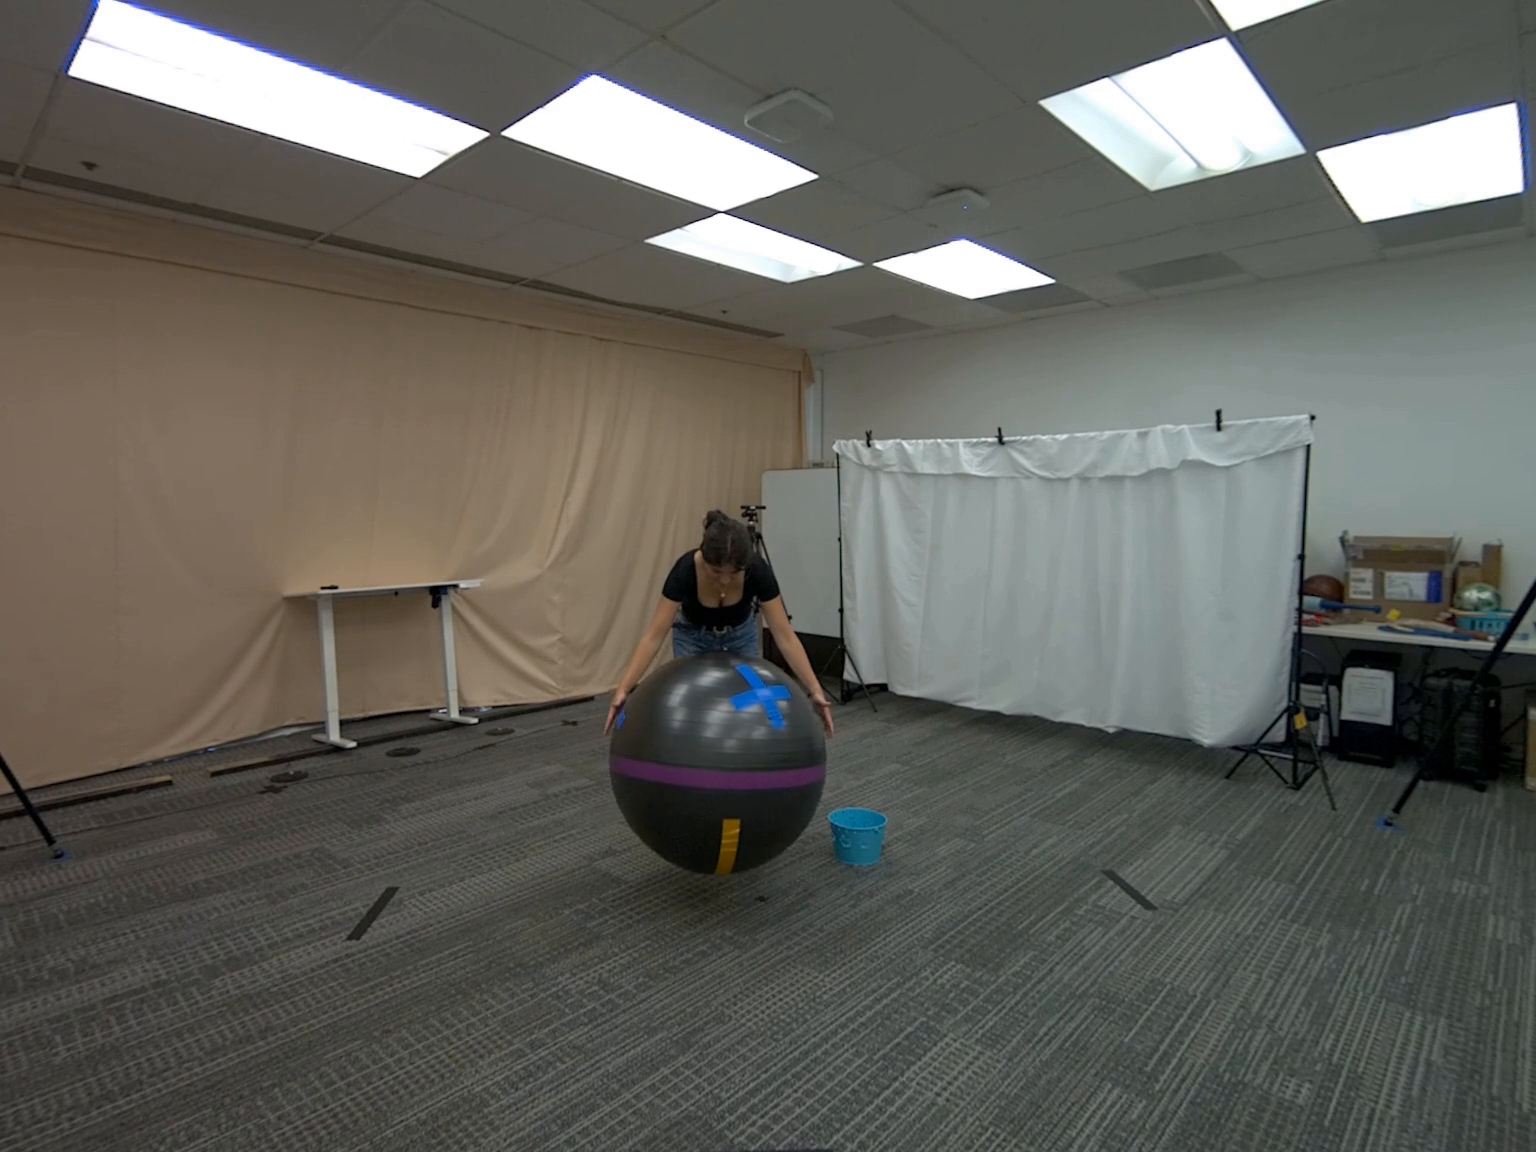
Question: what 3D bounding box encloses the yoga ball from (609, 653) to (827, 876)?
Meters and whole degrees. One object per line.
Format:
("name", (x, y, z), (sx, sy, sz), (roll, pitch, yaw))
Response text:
("yoga ball", (-0.181, 0.662, 2.938), (0.757, 0.756, 0.760), (0, 4, -2))
